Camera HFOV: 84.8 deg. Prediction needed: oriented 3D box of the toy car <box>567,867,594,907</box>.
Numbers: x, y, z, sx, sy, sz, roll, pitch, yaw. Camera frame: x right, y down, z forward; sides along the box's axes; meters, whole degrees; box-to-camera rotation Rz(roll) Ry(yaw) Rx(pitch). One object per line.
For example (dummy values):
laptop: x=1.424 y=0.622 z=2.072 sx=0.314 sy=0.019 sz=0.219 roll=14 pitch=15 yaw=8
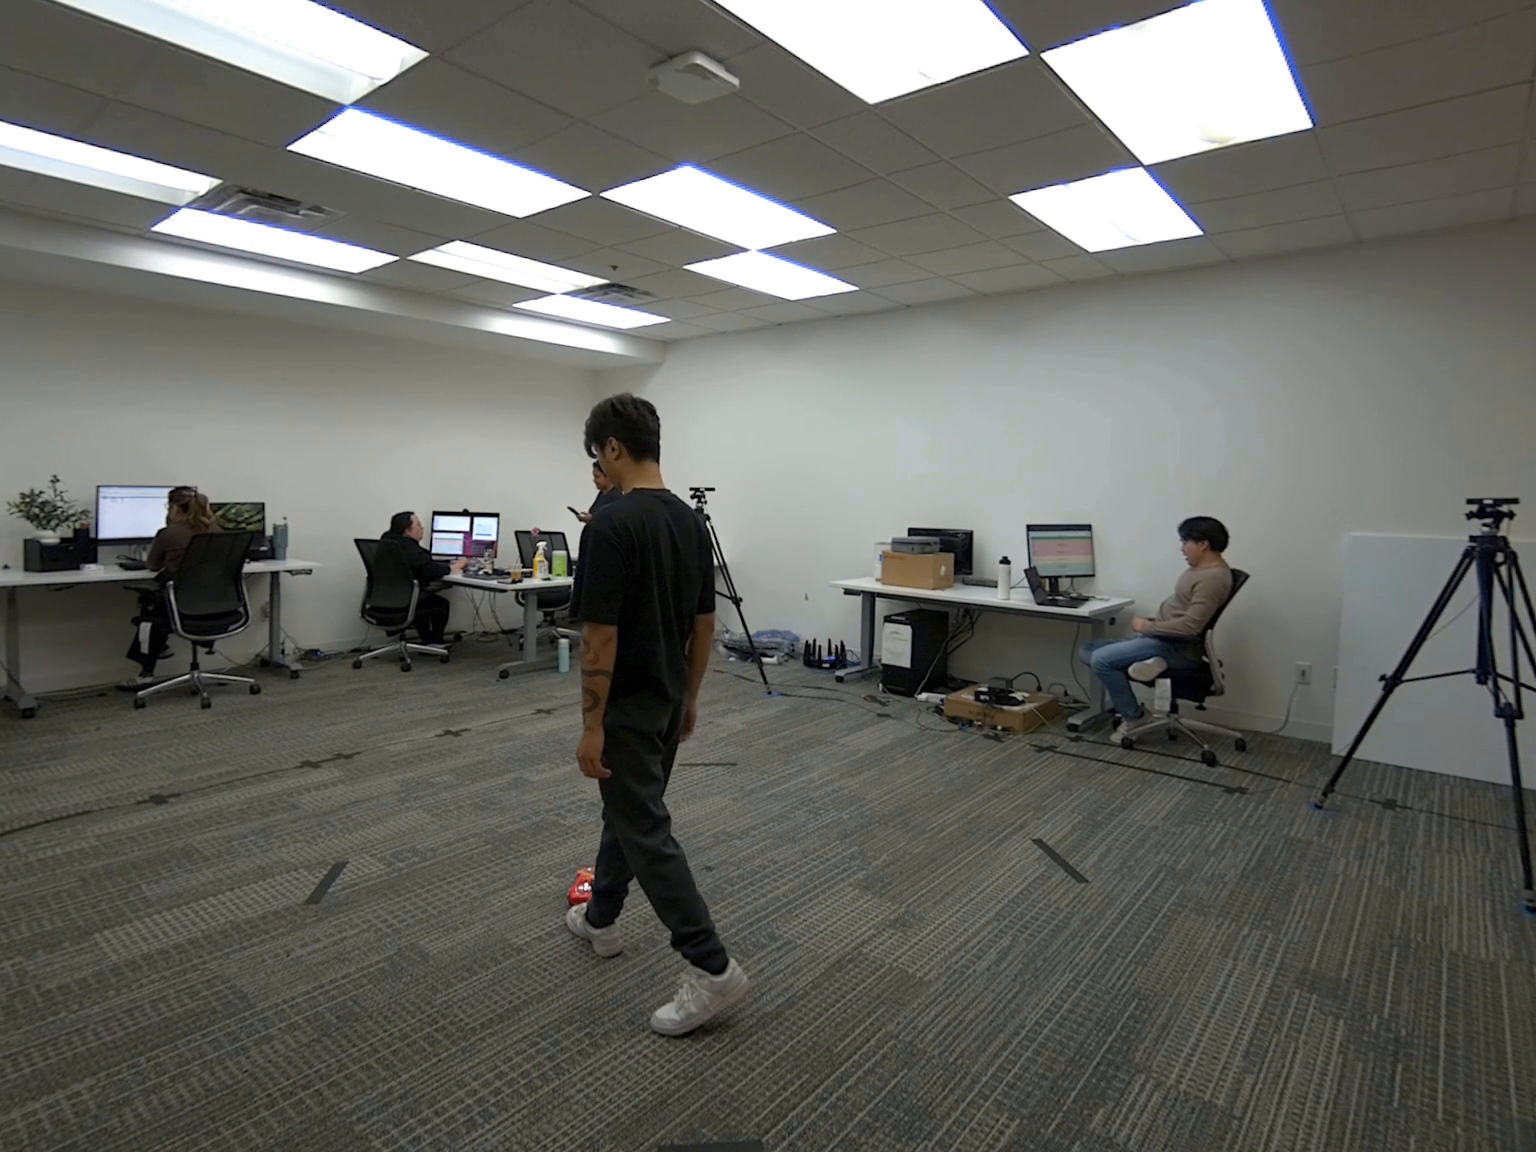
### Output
toy car: x=-0.617 y=1.051 z=2.868 sx=0.130 sy=0.084 sz=0.253 roll=0 pitch=-6 yaw=-4
